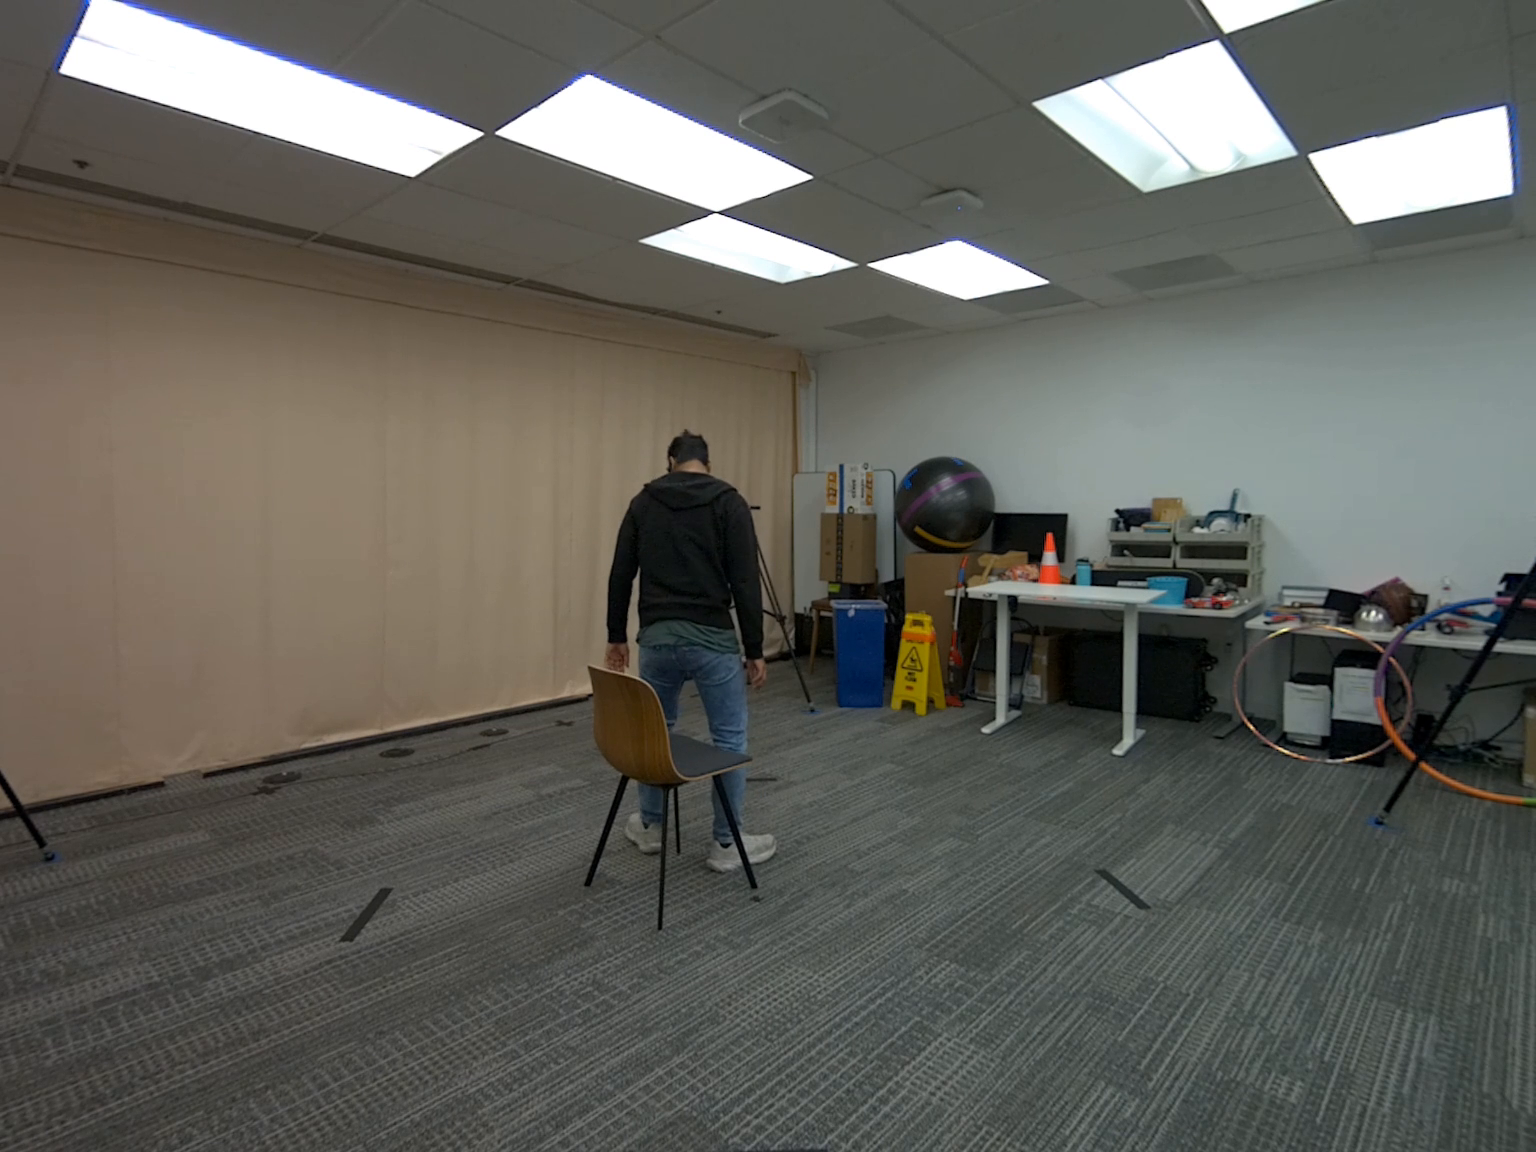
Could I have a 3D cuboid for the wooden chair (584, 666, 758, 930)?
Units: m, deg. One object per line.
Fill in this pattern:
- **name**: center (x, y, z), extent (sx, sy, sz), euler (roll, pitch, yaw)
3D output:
- **wooden chair**: center (-0.349, 0.713, 3.054), extent (0.508, 0.874, 0.494), euler (-9, 7, -42)
